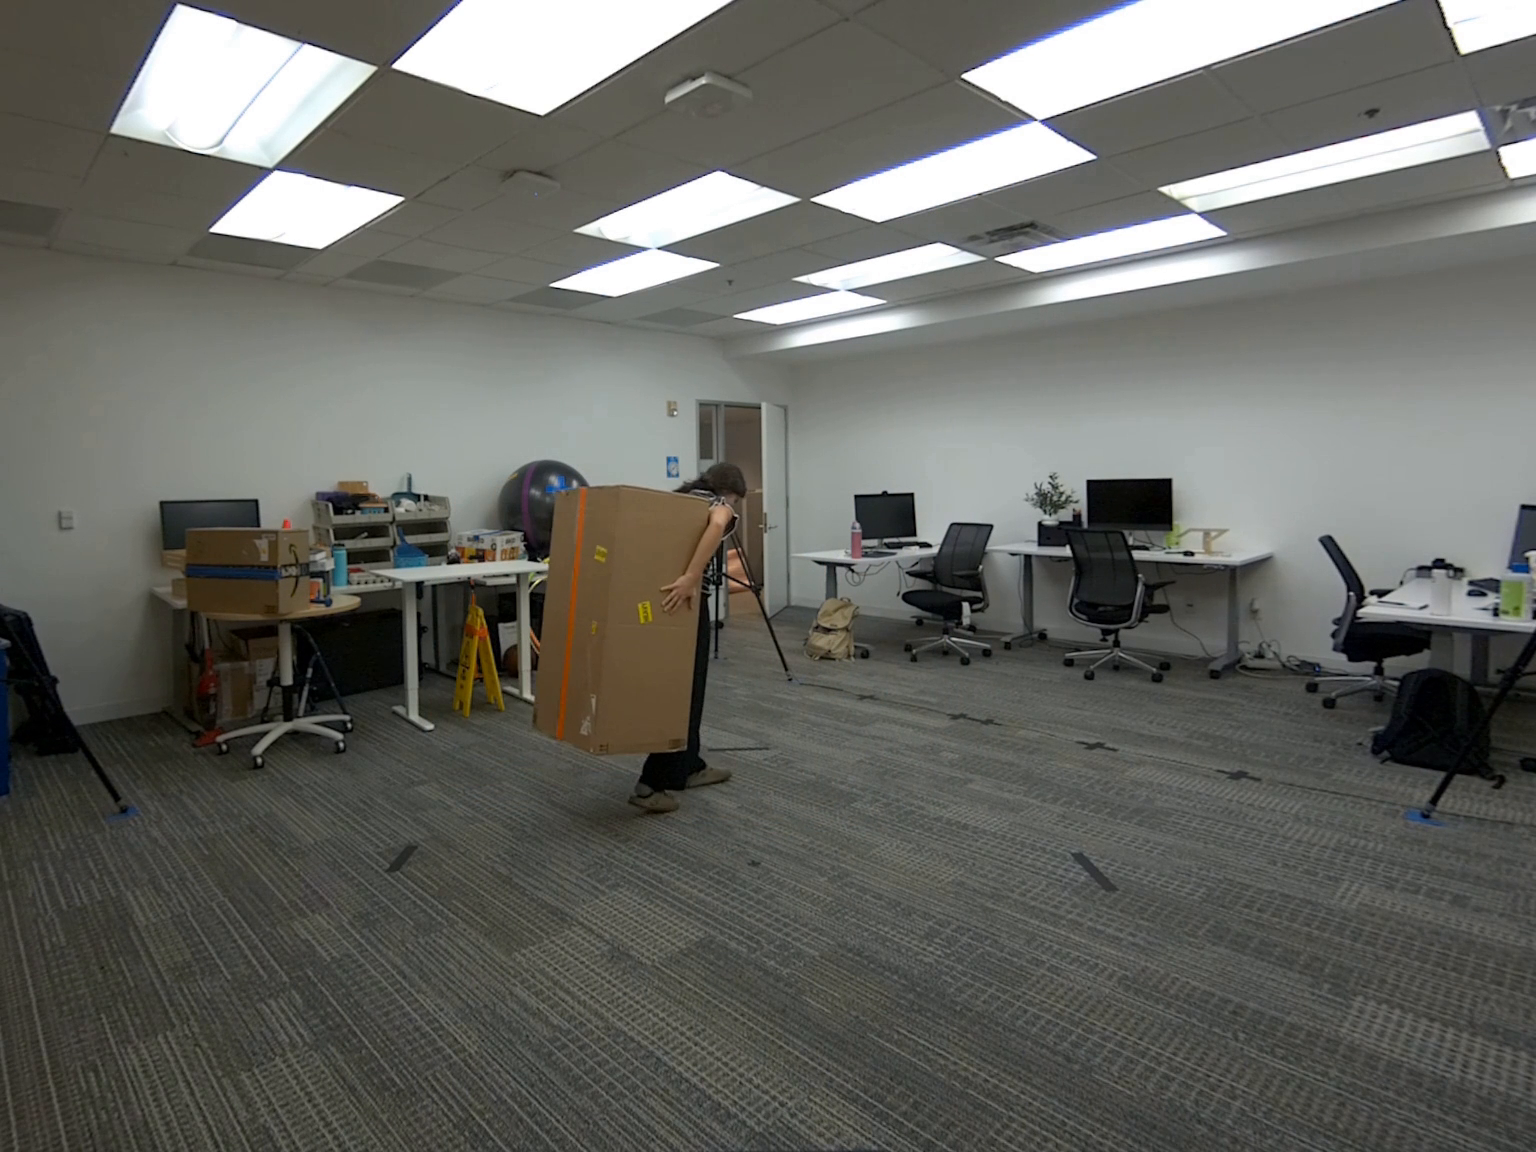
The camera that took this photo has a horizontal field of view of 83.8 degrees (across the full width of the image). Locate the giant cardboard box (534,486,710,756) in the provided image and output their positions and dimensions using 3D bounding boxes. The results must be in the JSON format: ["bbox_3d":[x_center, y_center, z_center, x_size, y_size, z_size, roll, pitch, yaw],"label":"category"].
[{"bbox_3d":[-0.631,0.170,3.555,0.413,1.028,0.594,7,-3,-38],"label":"giant cardboard box"}]
